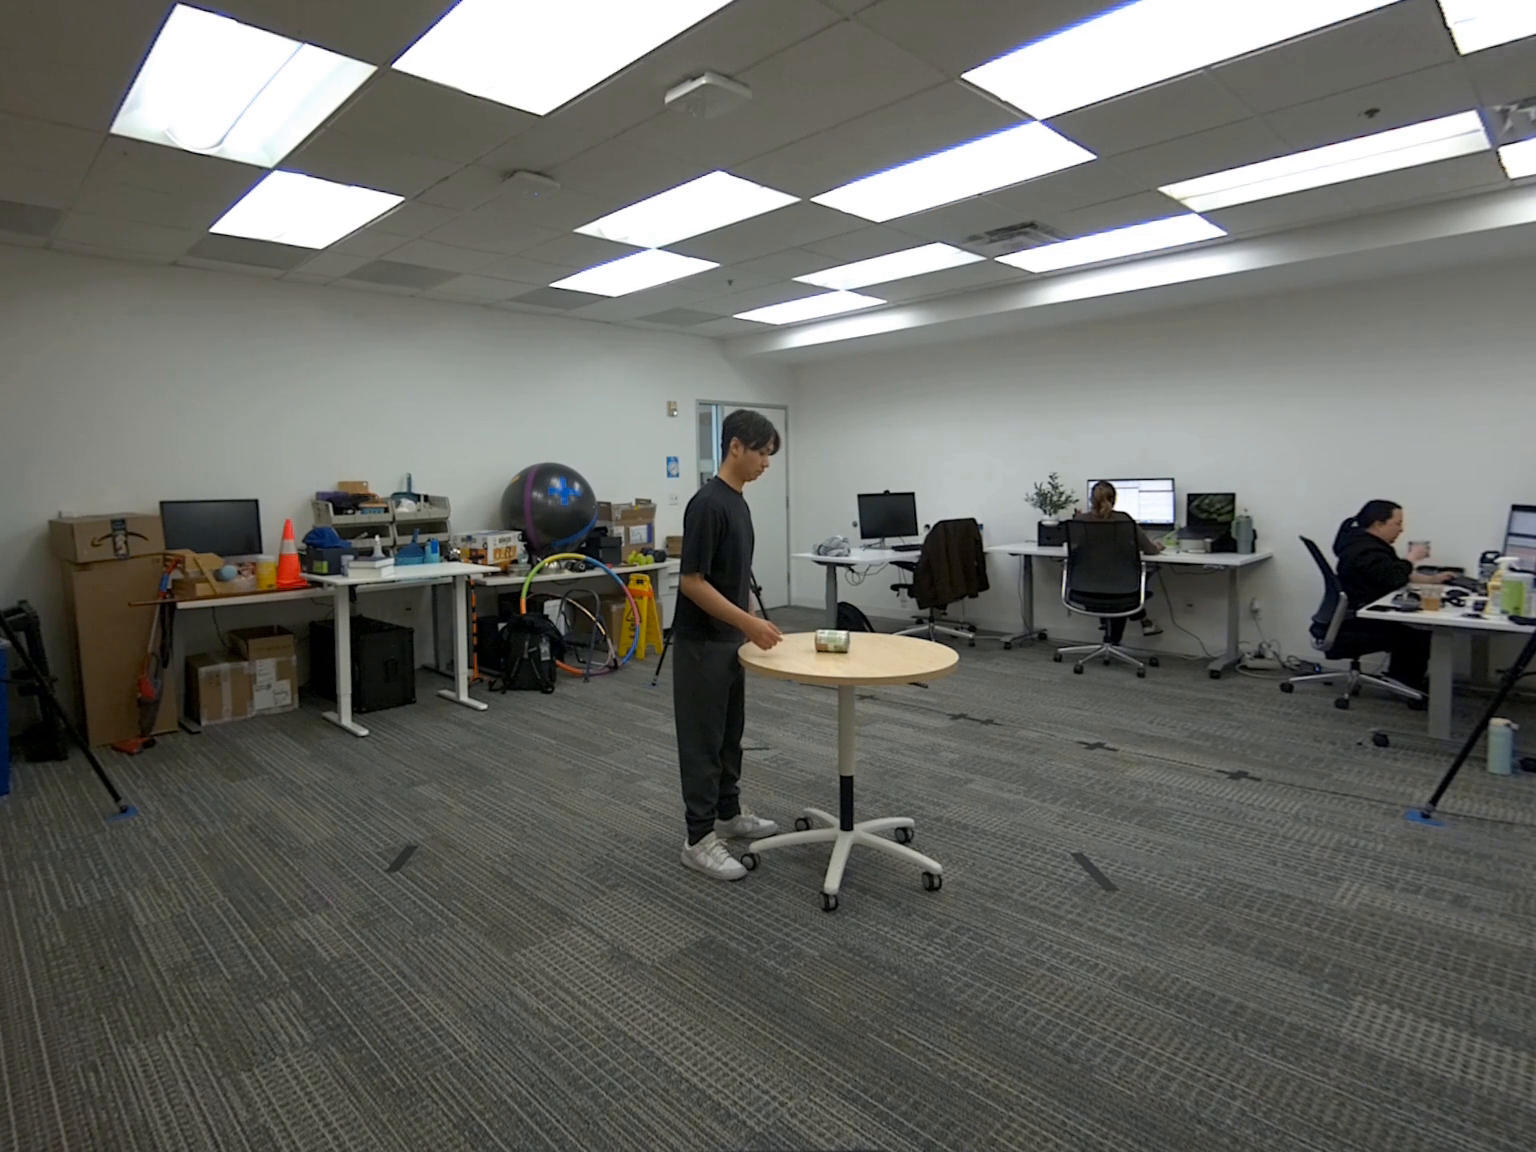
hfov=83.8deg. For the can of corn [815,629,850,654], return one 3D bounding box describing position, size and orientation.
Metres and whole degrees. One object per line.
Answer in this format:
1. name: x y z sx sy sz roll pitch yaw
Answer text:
1. can of corn: 0.230 0.227 3.010 0.112 0.074 0.074 2 5 9
